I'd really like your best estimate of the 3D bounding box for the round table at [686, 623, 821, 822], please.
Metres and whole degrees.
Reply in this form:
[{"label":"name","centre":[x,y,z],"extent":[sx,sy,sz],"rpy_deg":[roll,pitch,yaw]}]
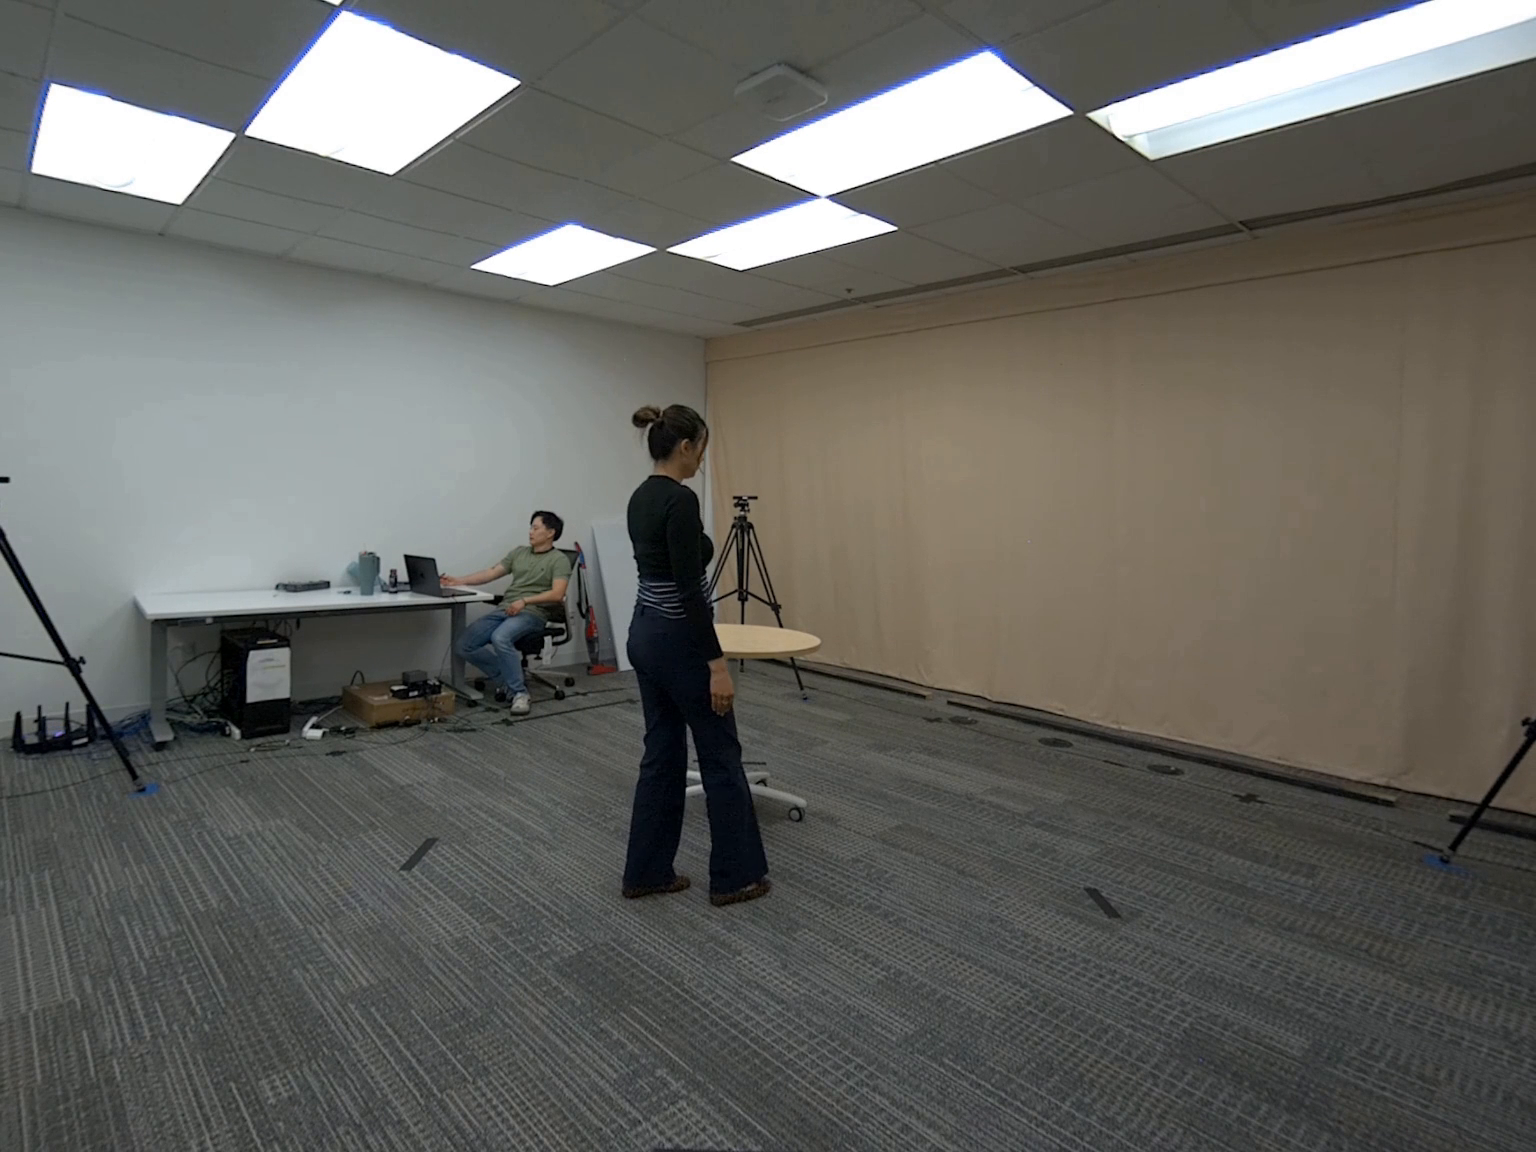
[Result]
[{"label":"round table","centre":[-0.180,0.662,3.724],"extent":[0.763,0.792,0.766],"rpy_deg":[2,3,-1]}]
